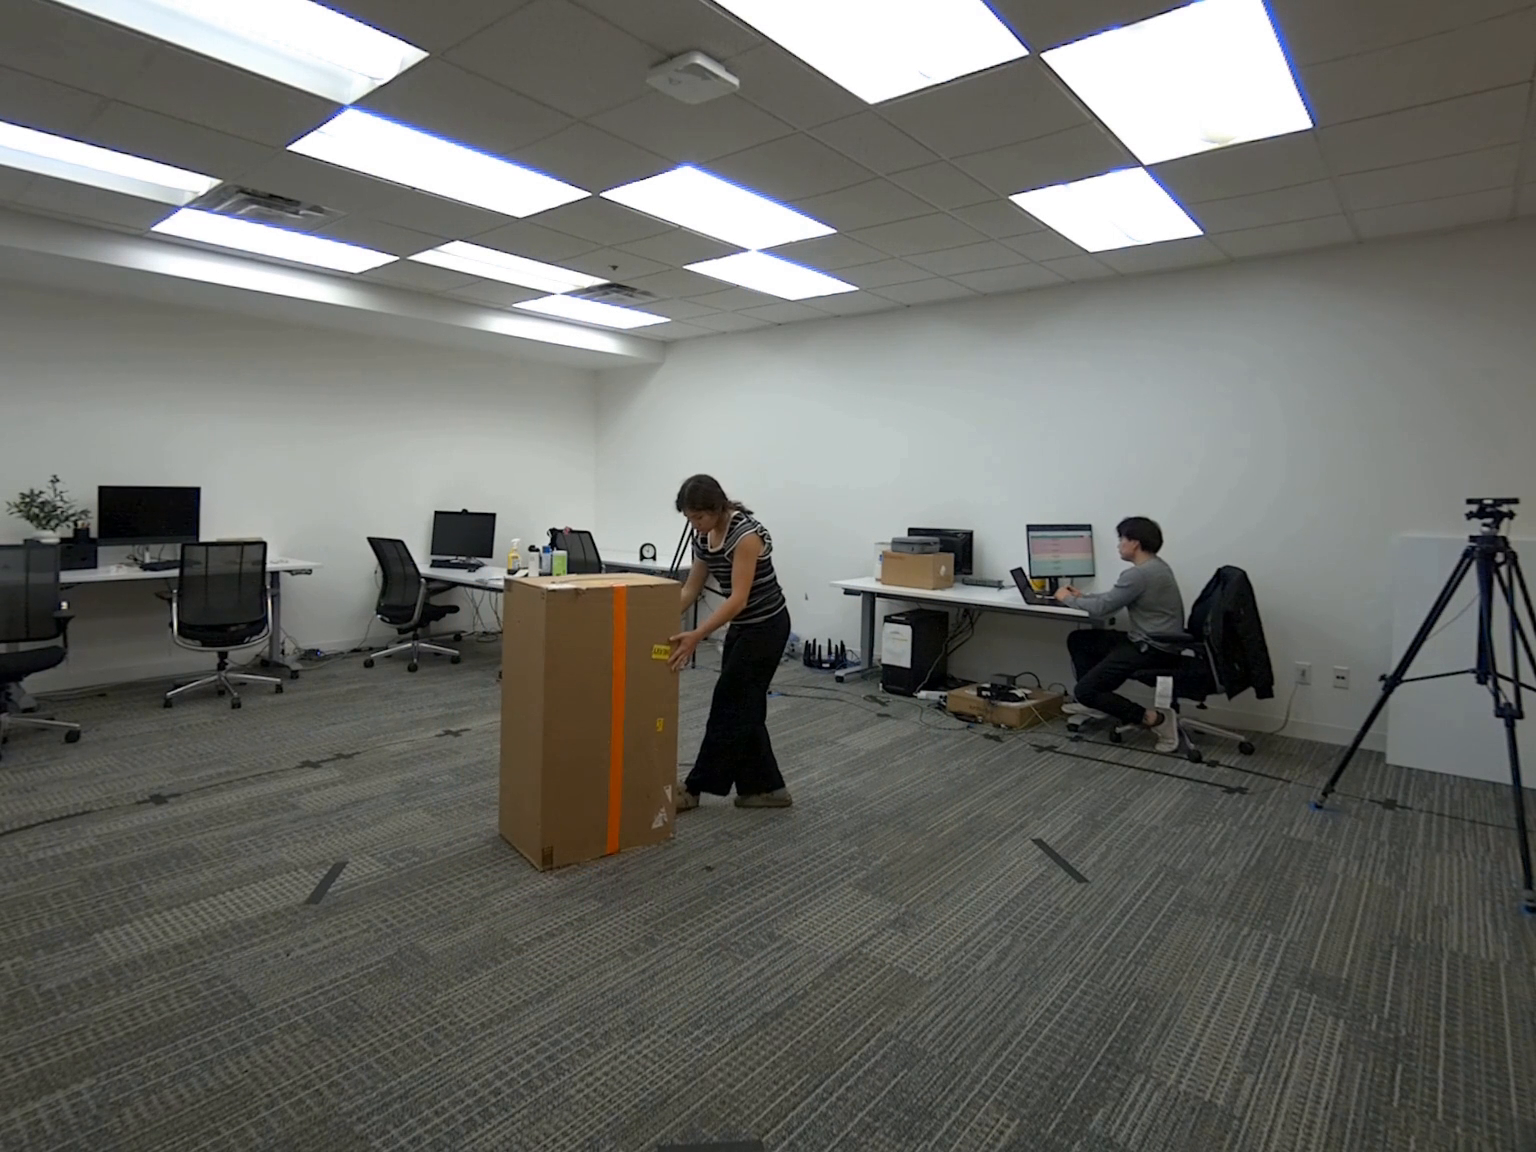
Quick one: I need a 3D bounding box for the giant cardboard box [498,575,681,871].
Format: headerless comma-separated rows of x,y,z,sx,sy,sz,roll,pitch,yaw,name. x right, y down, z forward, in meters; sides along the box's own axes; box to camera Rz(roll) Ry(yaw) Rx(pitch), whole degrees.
-0.718,0.523,3.355,0.560,1.023,0.440,-1,4,-38,giant cardboard box
